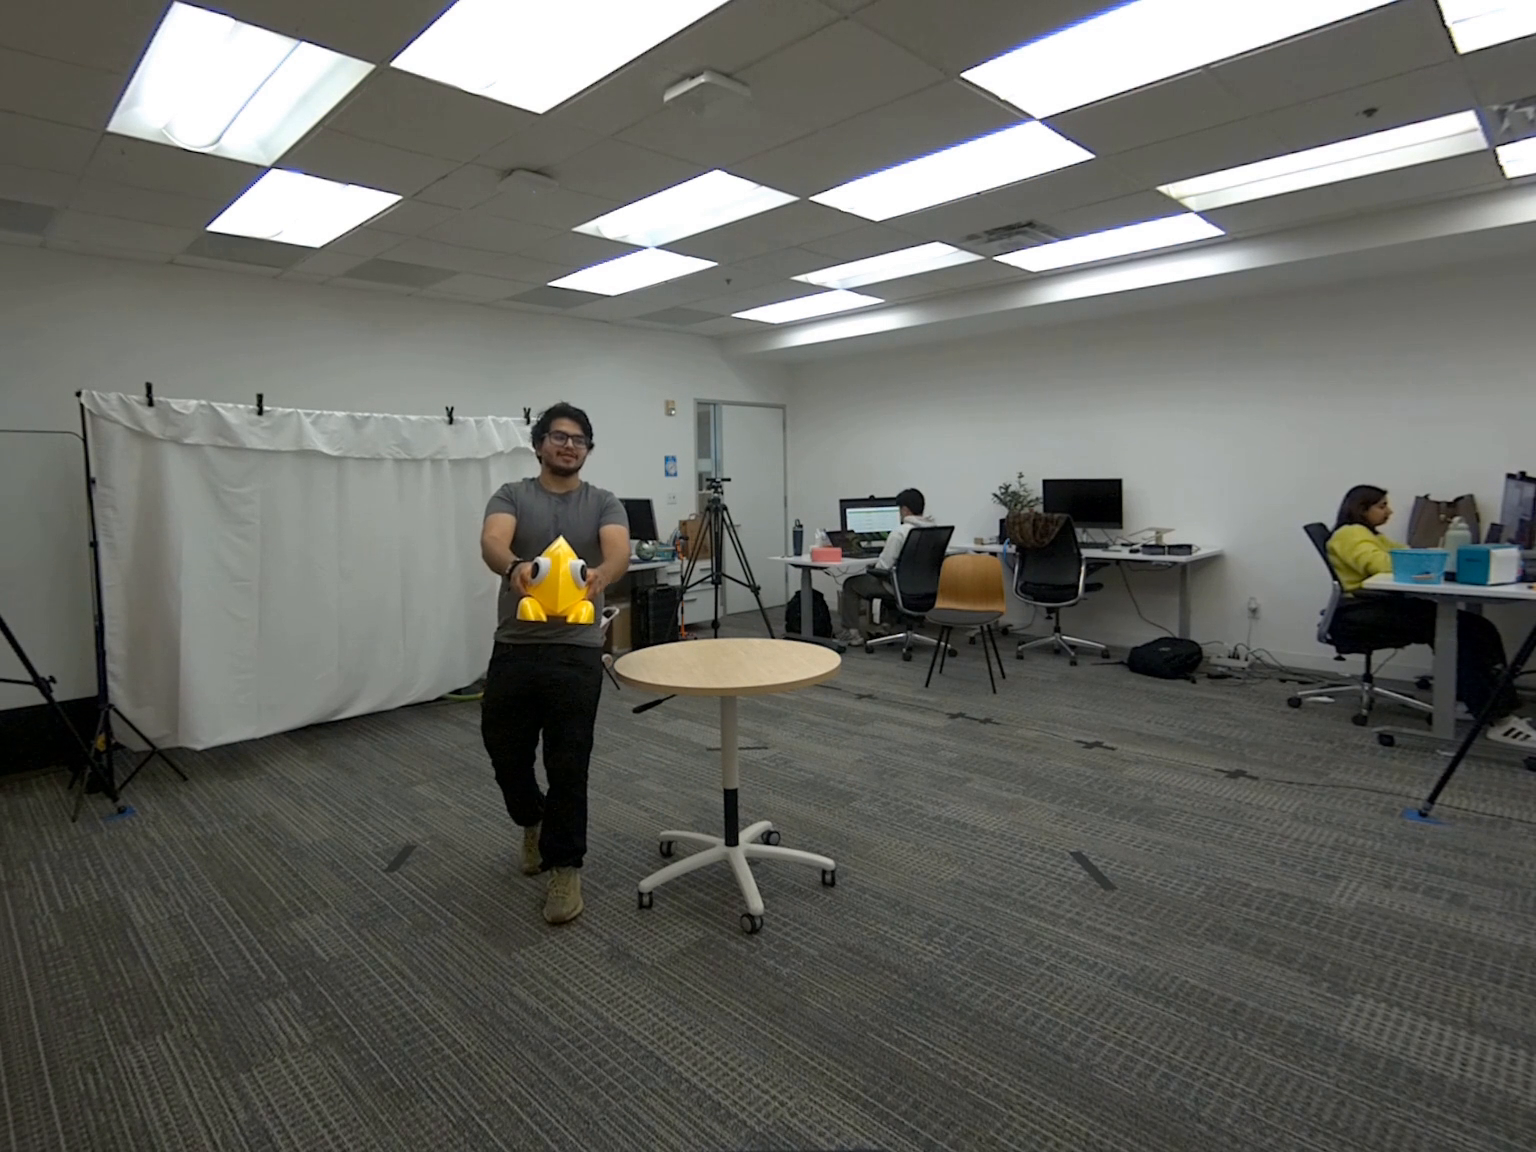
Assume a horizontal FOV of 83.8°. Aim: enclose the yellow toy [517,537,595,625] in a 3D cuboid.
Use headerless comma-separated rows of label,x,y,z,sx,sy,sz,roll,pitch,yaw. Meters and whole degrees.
yellow toy,-0.554,0.006,2.289,0.202,0.231,0.195,4,-3,-15
